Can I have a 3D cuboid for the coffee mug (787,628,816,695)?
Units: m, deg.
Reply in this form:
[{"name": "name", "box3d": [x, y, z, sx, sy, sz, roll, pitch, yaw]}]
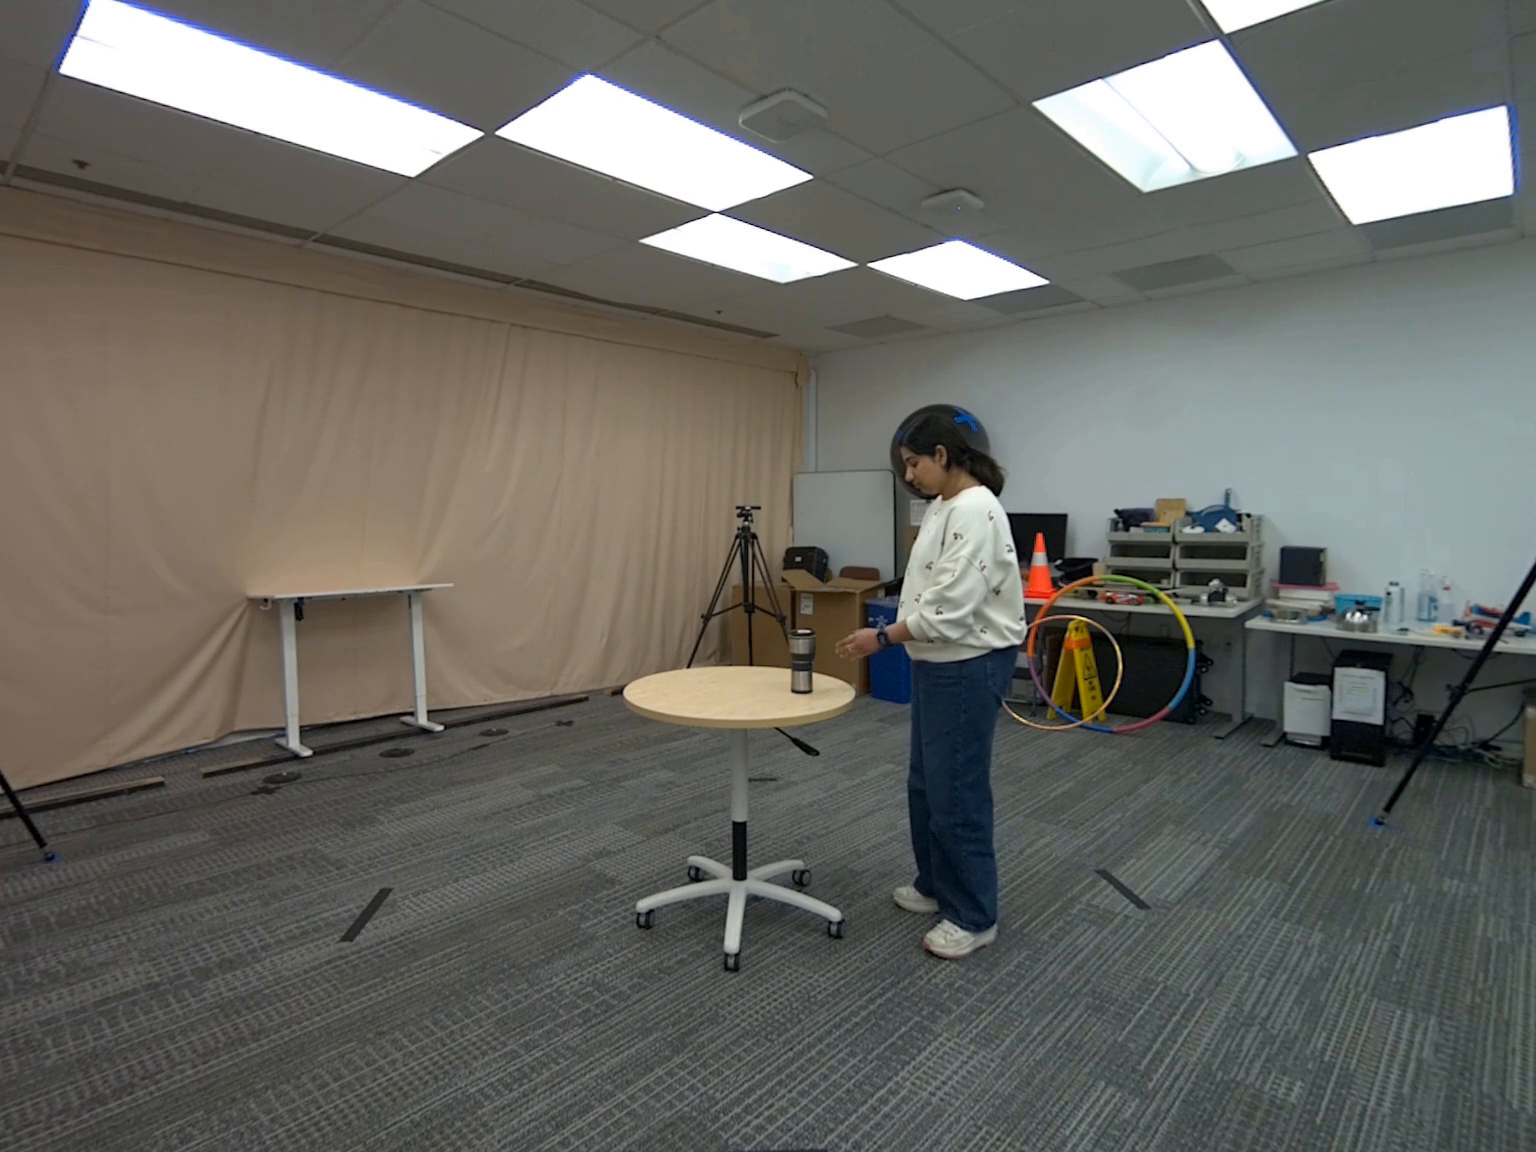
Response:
[{"name": "coffee mug", "box3d": [0.137, 0.286, 2.764, 0.119, 0.202, 0.090, -6, 7, -33]}]
